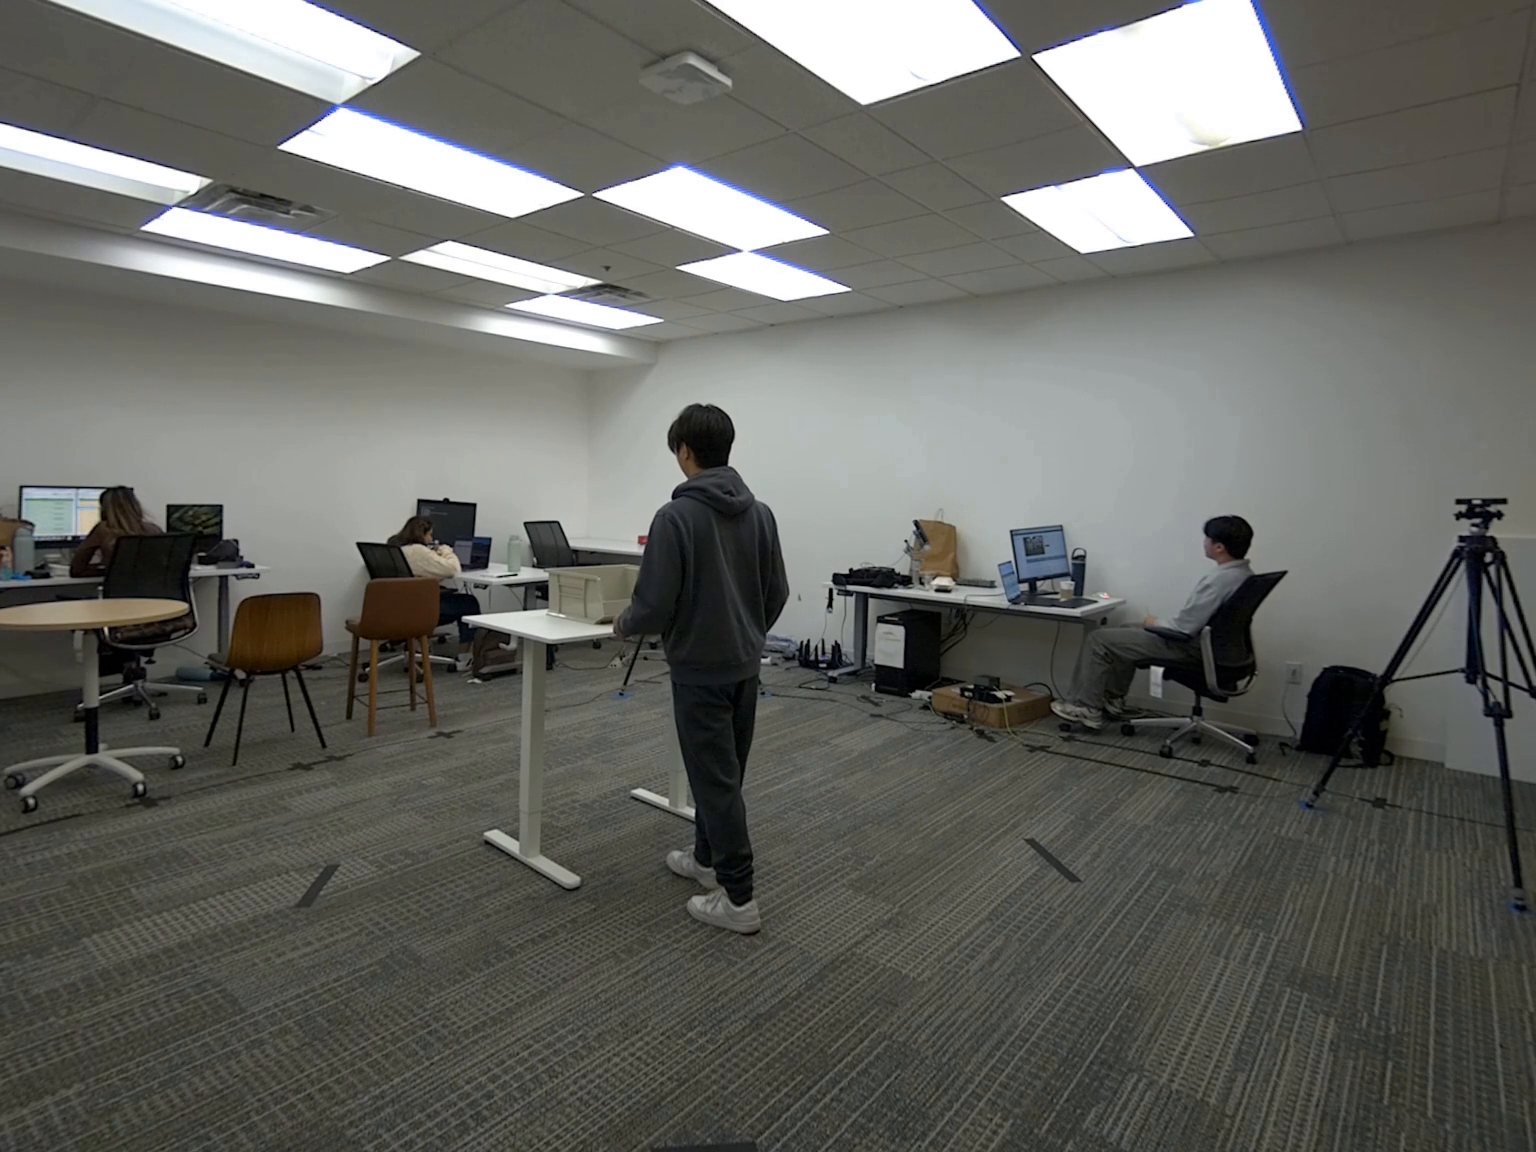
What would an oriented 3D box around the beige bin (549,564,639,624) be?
[{"bbox_3d":[-0.612,0.067,3.356,0.390,0.188,0.409,5,6,43],"label":"beige bin"}]
